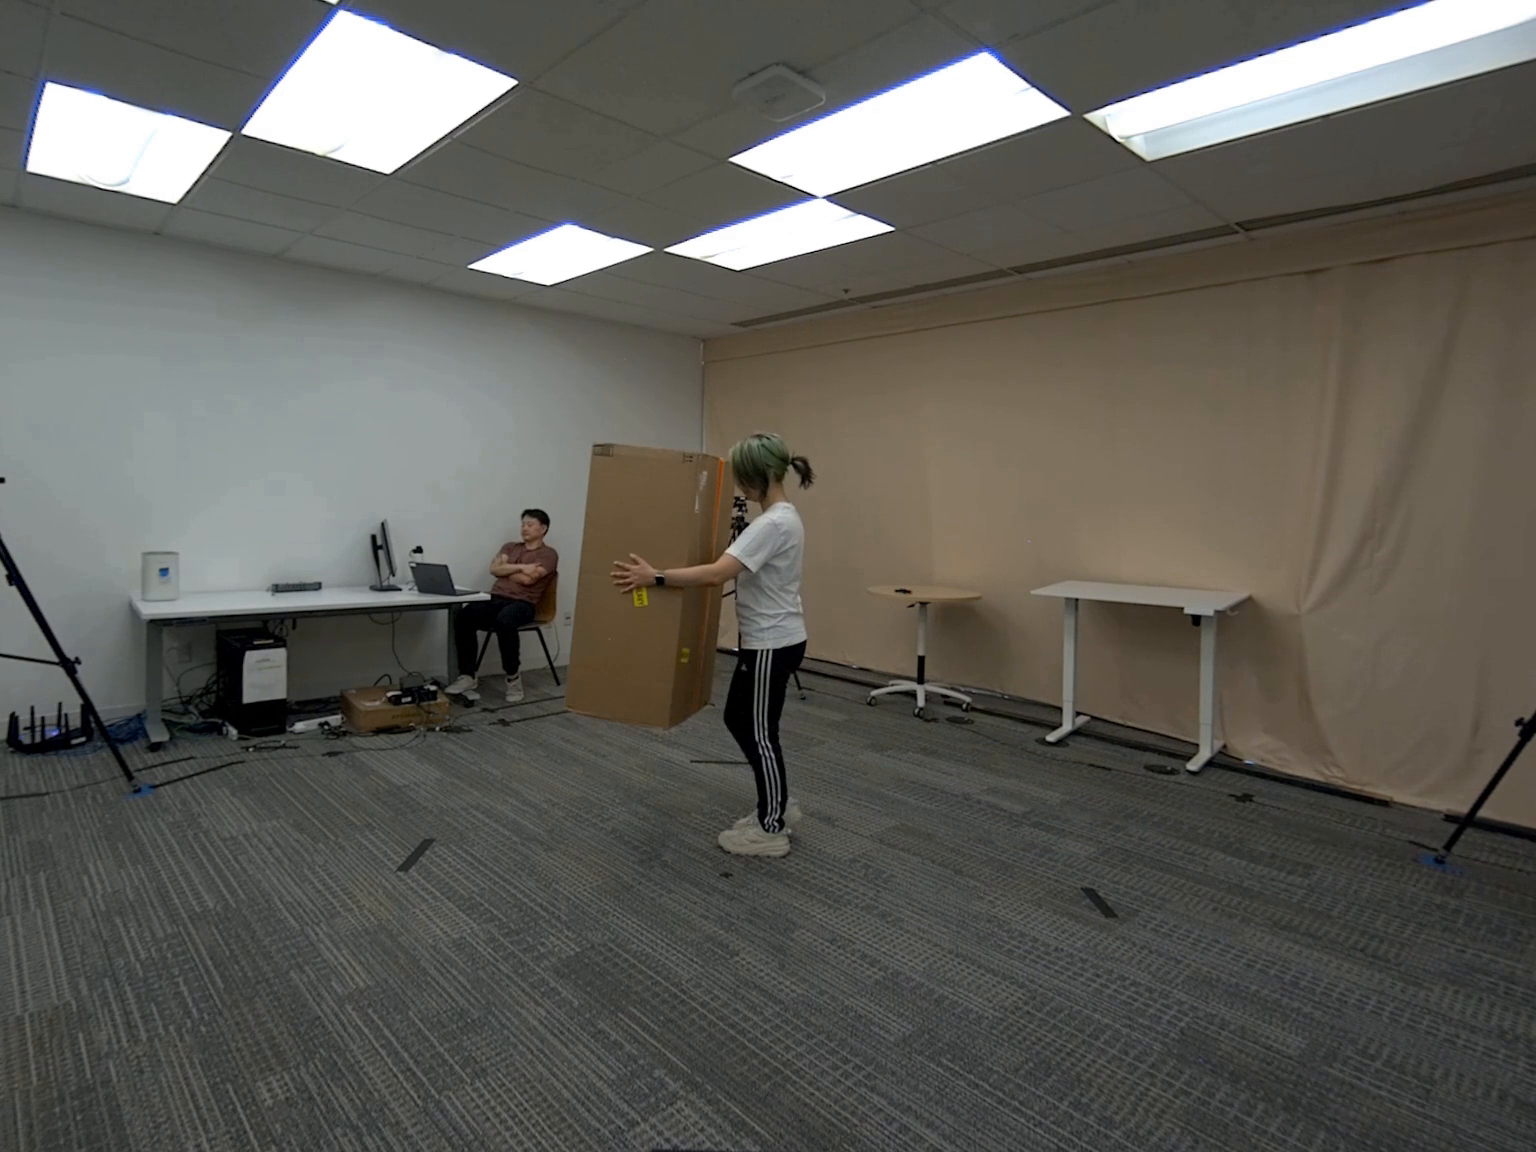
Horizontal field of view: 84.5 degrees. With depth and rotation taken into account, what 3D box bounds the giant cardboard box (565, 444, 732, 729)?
[{"bbox_3d":[-0.452,0.023,3.369,0.452,1.025,0.578,6,3,12],"label":"giant cardboard box"}]
